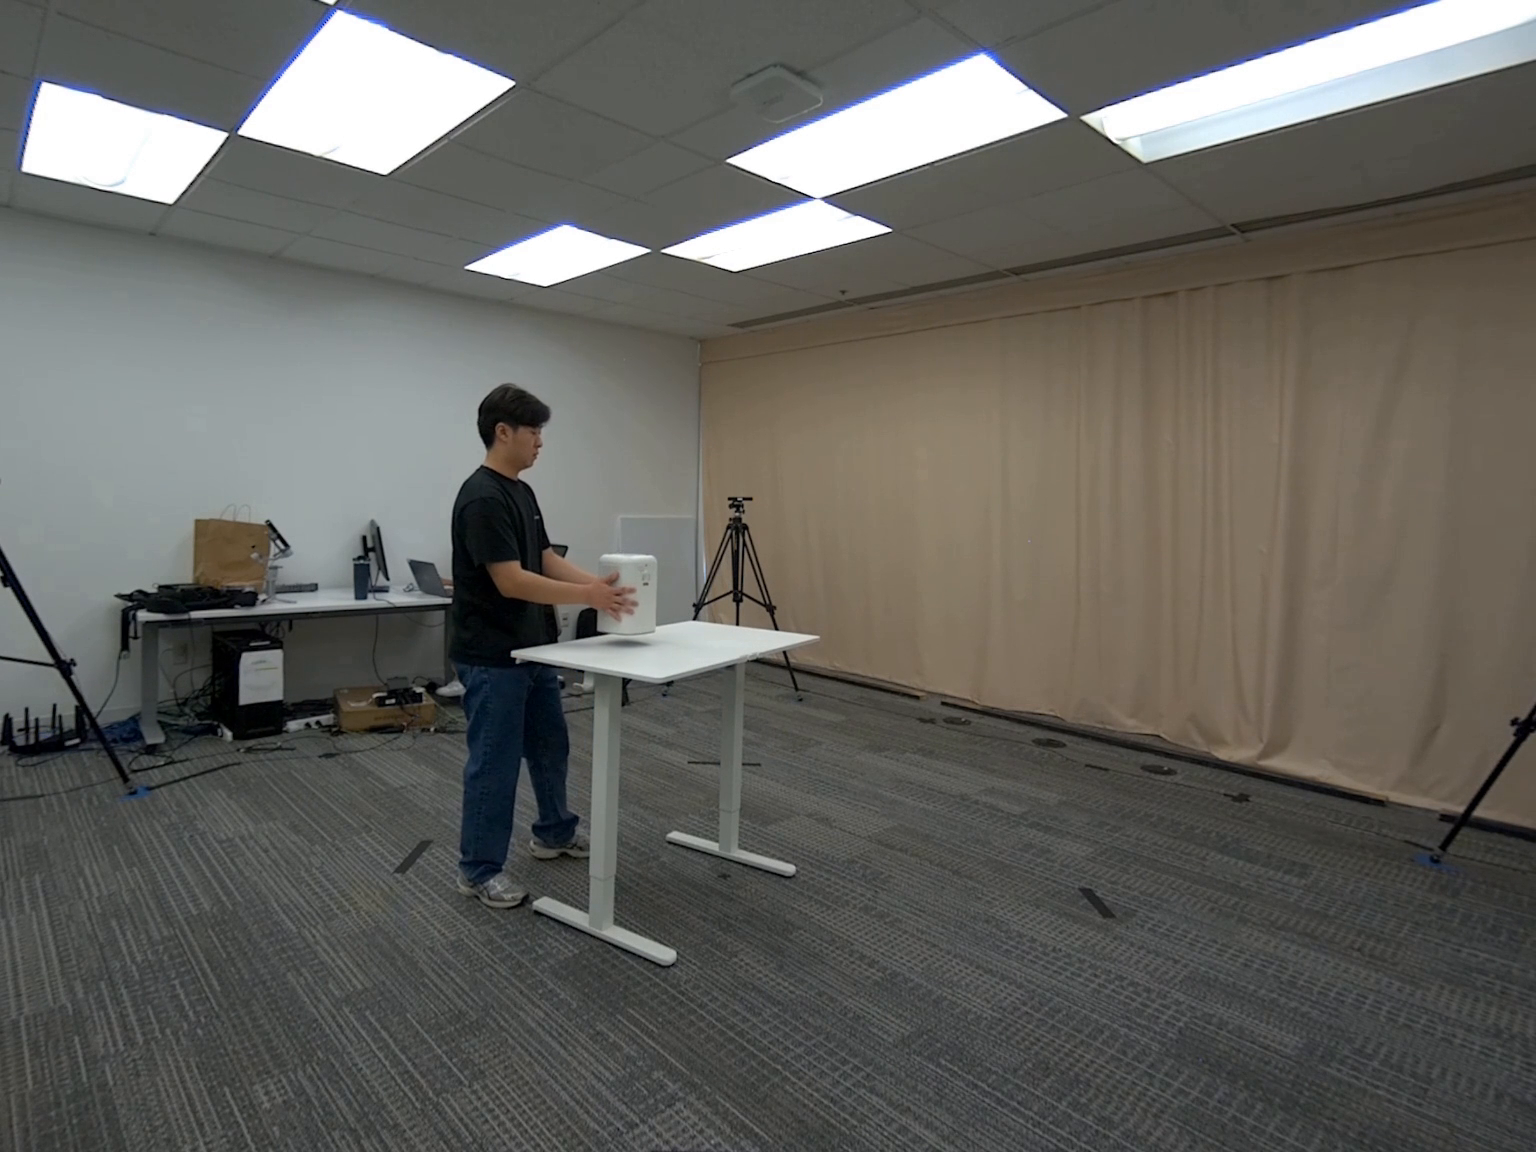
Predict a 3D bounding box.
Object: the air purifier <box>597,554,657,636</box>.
[{"bbox_3d":[-0.493,0.060,2.885,0.175,0.265,0.167,5,3,30],"label":"air purifier"}]
